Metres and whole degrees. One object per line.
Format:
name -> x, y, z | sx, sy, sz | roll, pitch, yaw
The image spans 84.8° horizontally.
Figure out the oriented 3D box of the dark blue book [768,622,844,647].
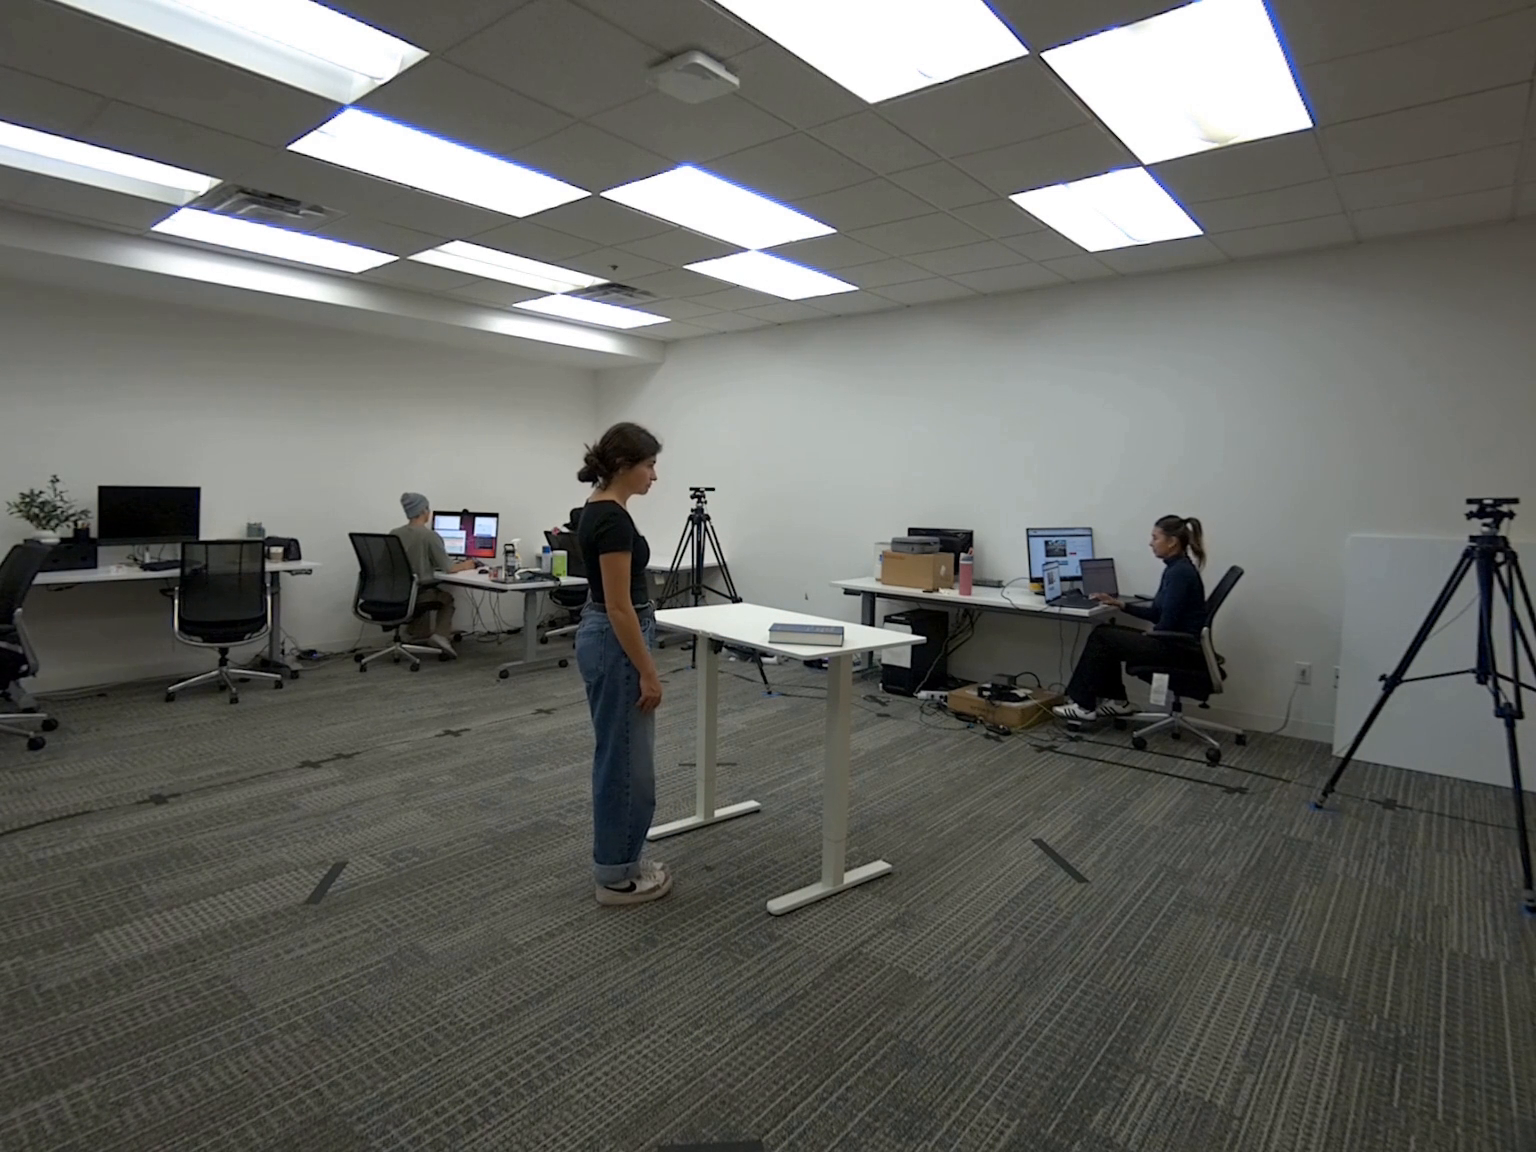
dark blue book -> 0.125, 0.198, 2.881 | 0.248, 0.045, 0.162 | 3, 7, 11
